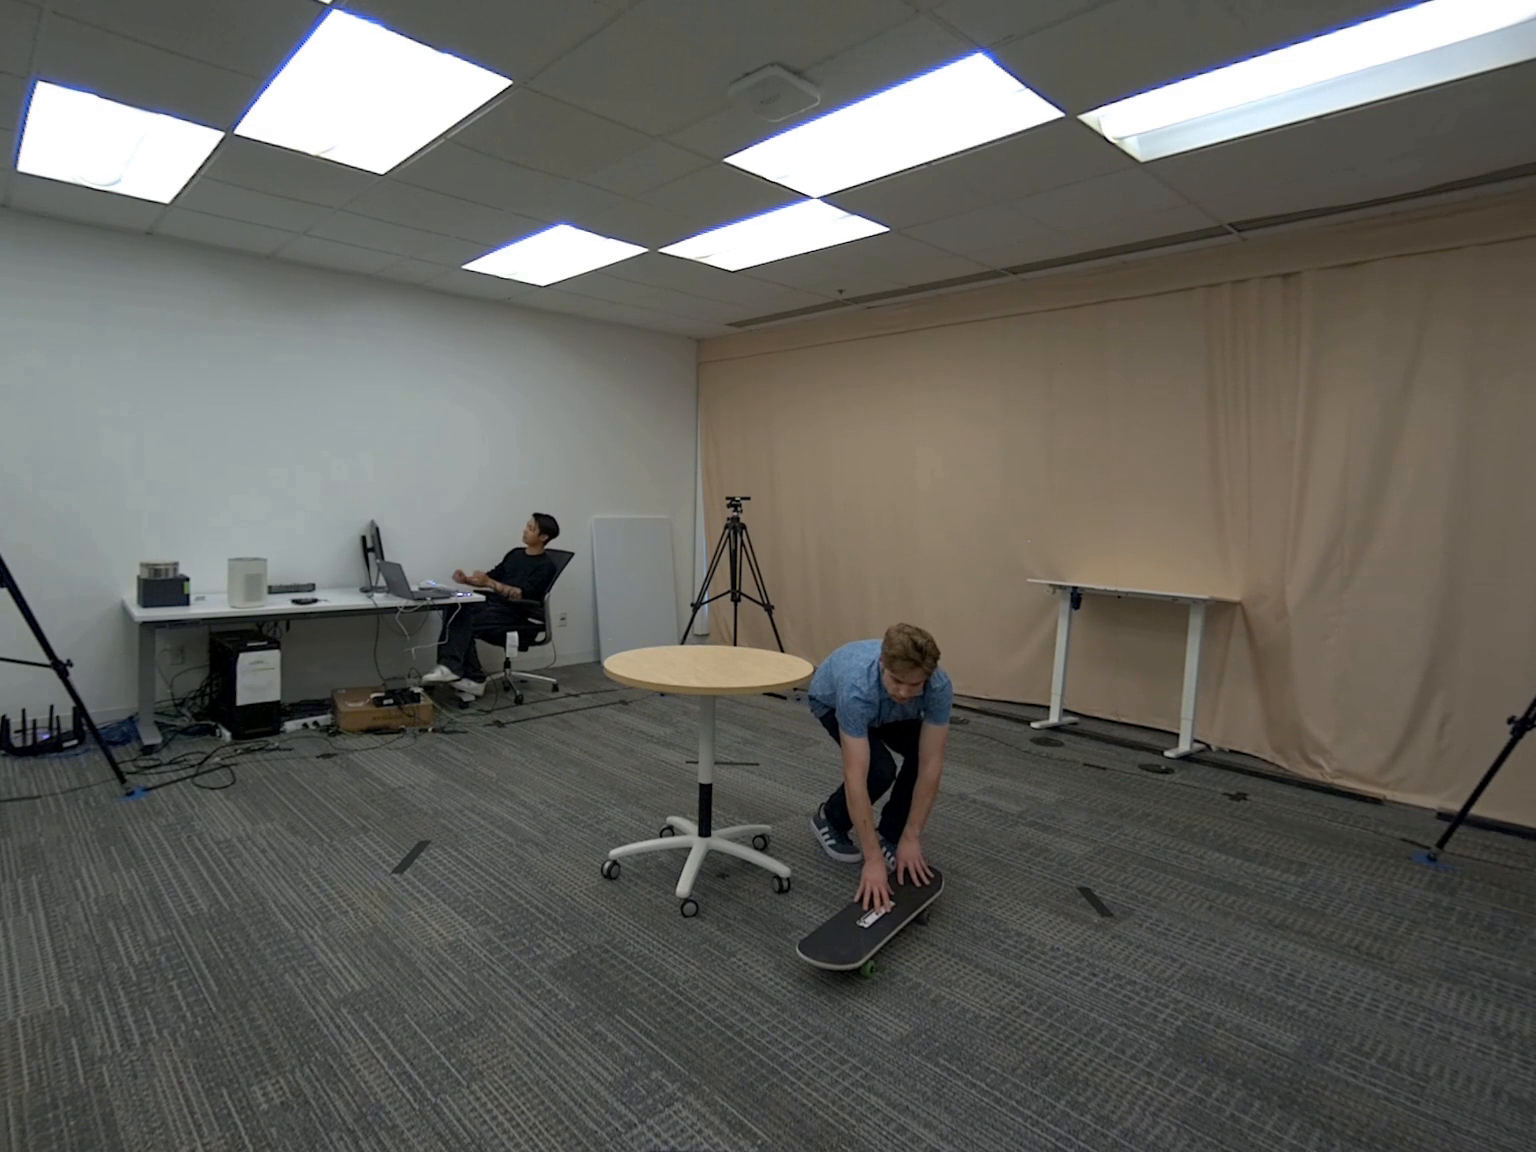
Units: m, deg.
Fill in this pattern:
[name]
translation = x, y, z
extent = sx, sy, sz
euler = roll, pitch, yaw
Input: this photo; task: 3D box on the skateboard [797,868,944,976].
[skateboard]
translation = 0.341, 1.103, 2.668
extent = 0.198, 0.110, 0.769
euler = 5, 6, 35
